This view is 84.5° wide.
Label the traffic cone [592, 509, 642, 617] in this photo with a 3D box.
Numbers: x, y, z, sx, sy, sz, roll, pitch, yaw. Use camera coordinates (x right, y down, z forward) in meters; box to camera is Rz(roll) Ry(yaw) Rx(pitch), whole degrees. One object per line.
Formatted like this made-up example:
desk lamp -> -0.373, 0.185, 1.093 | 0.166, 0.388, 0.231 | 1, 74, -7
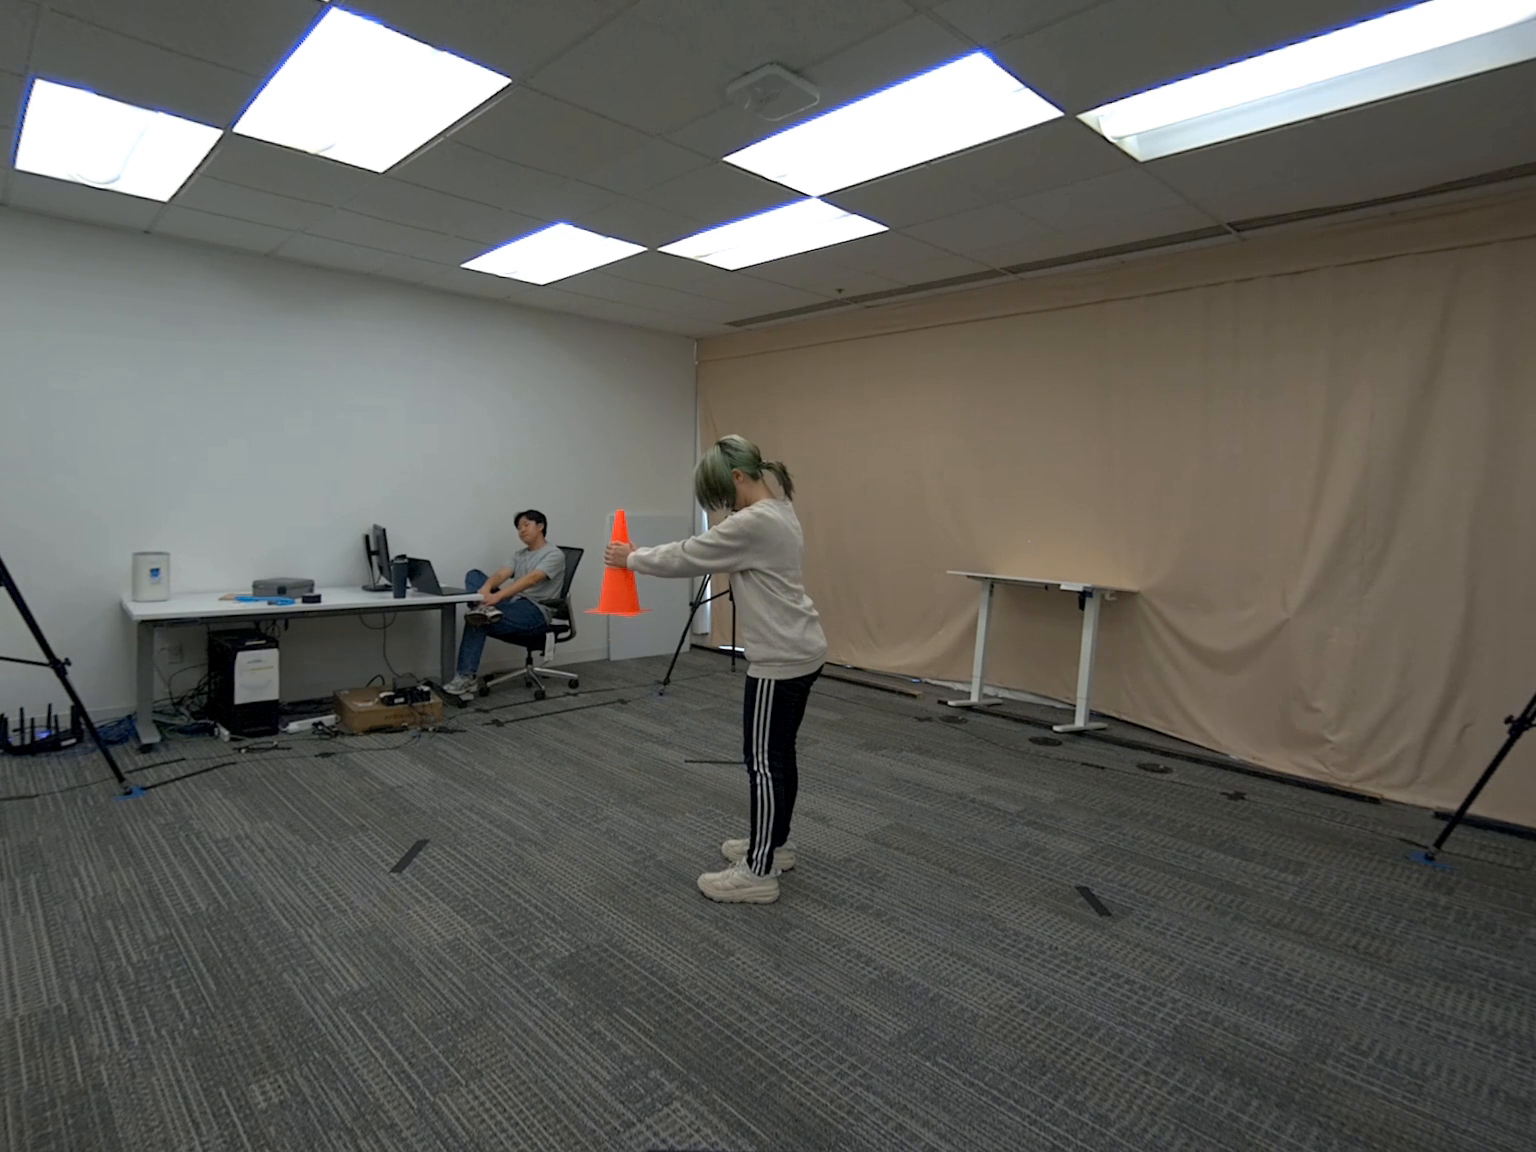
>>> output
traffic cone -> -0.557, -0.056, 3.179 | 0.208, 0.383, 0.201 | 3, 3, 32
